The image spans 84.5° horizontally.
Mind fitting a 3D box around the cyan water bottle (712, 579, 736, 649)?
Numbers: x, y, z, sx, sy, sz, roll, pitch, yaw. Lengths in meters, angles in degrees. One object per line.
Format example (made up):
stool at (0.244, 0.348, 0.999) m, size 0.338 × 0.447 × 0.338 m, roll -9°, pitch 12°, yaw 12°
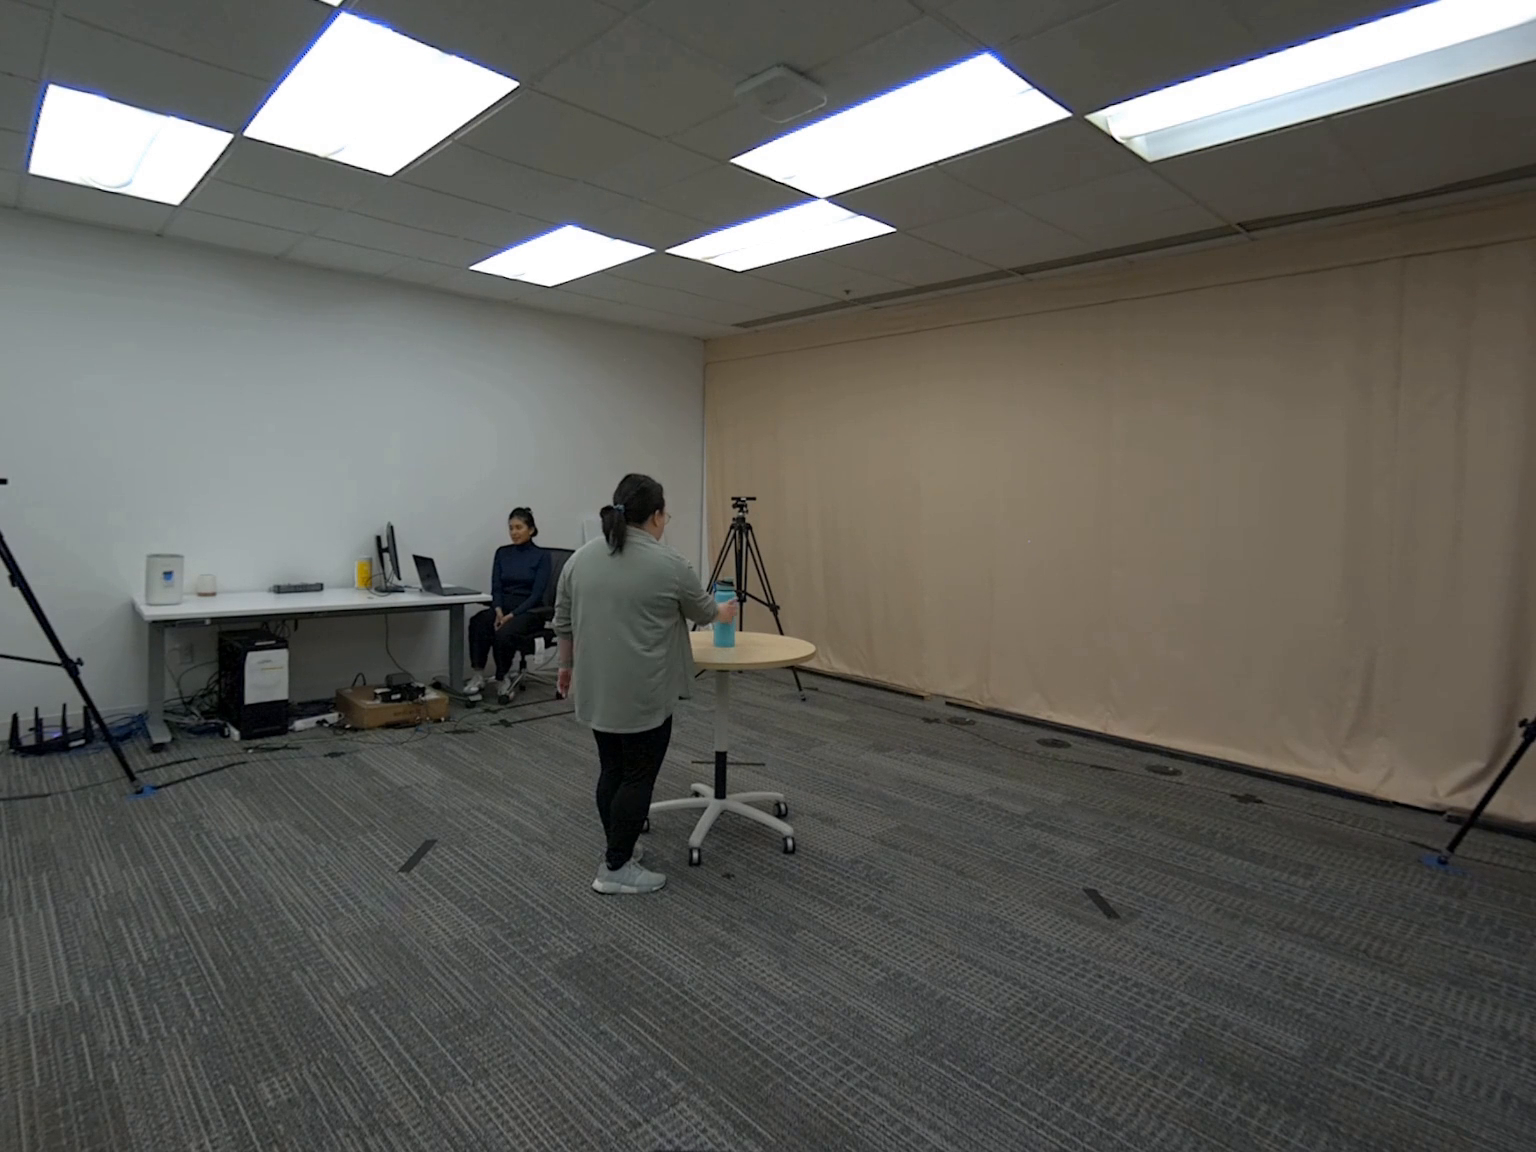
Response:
cyan water bottle at (-0.189, 0.149, 3.488) m, size 0.092 × 0.282 × 0.093 m, roll 0°, pitch 4°, yaw -1°
